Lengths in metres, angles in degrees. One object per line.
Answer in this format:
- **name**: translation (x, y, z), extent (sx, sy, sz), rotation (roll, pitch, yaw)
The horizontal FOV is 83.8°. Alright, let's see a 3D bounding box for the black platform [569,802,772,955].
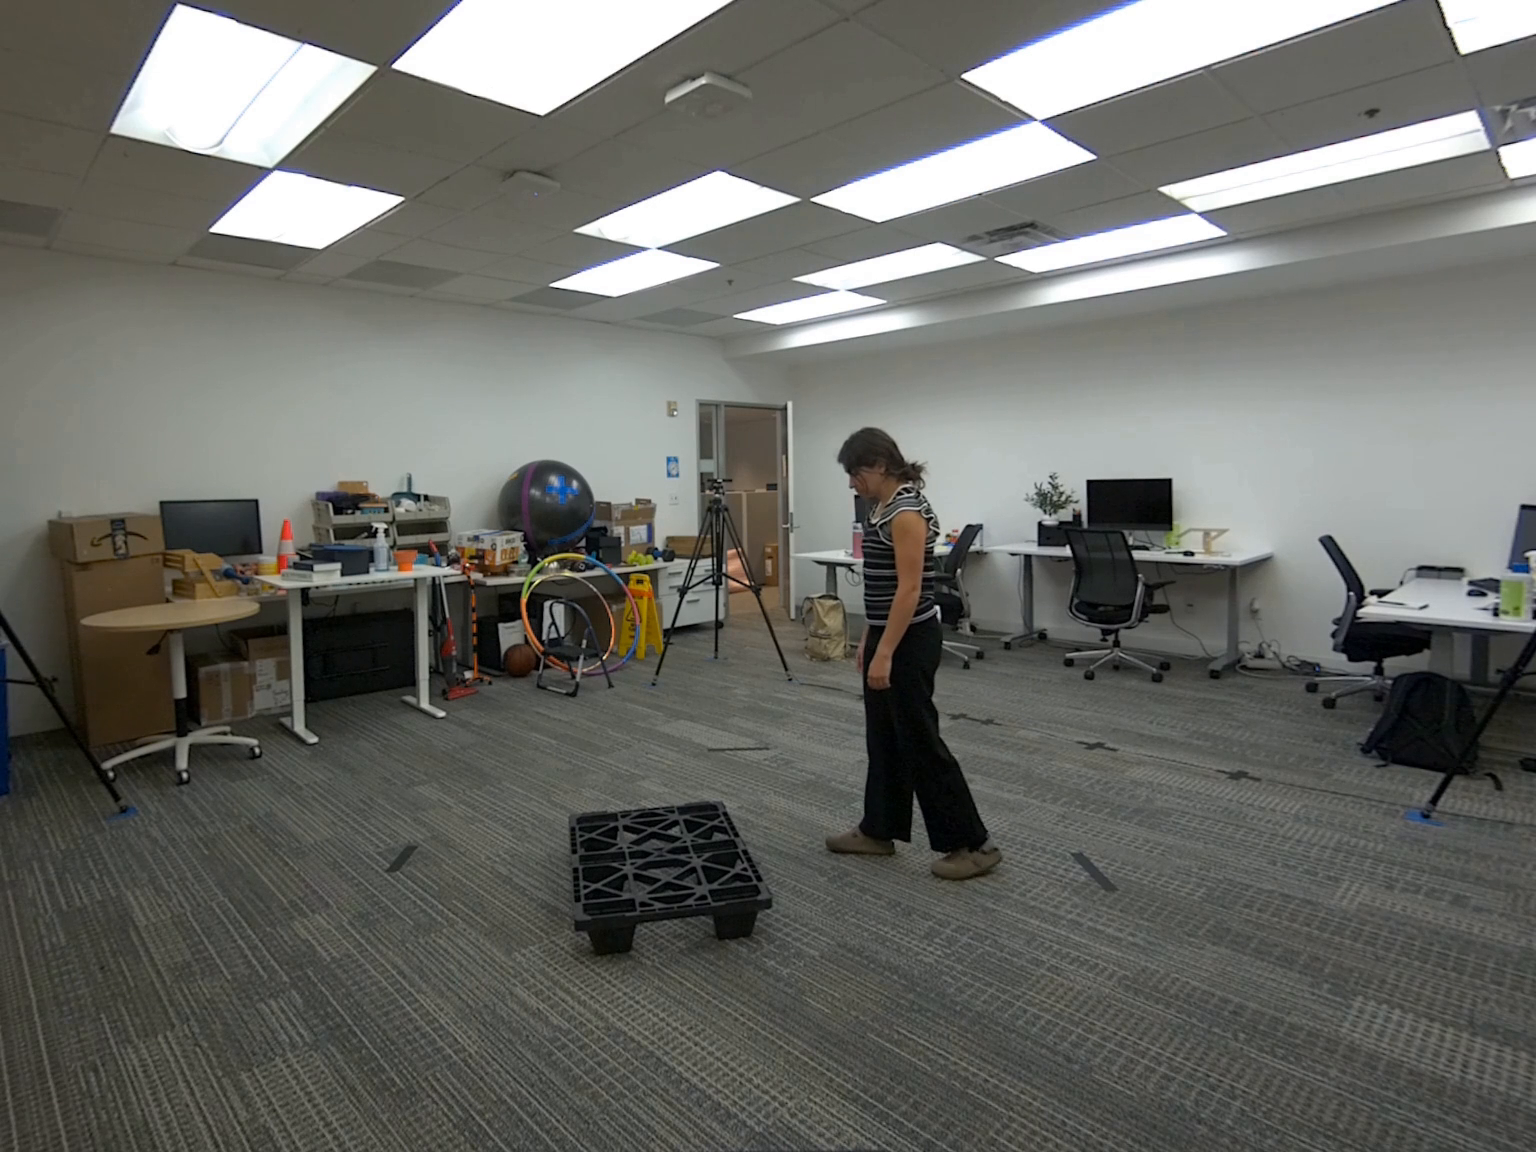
- **black platform**: translation (-0.367, 1.003, 2.917), extent (0.598, 0.142, 0.819), rotation (-3, 7, -13)
